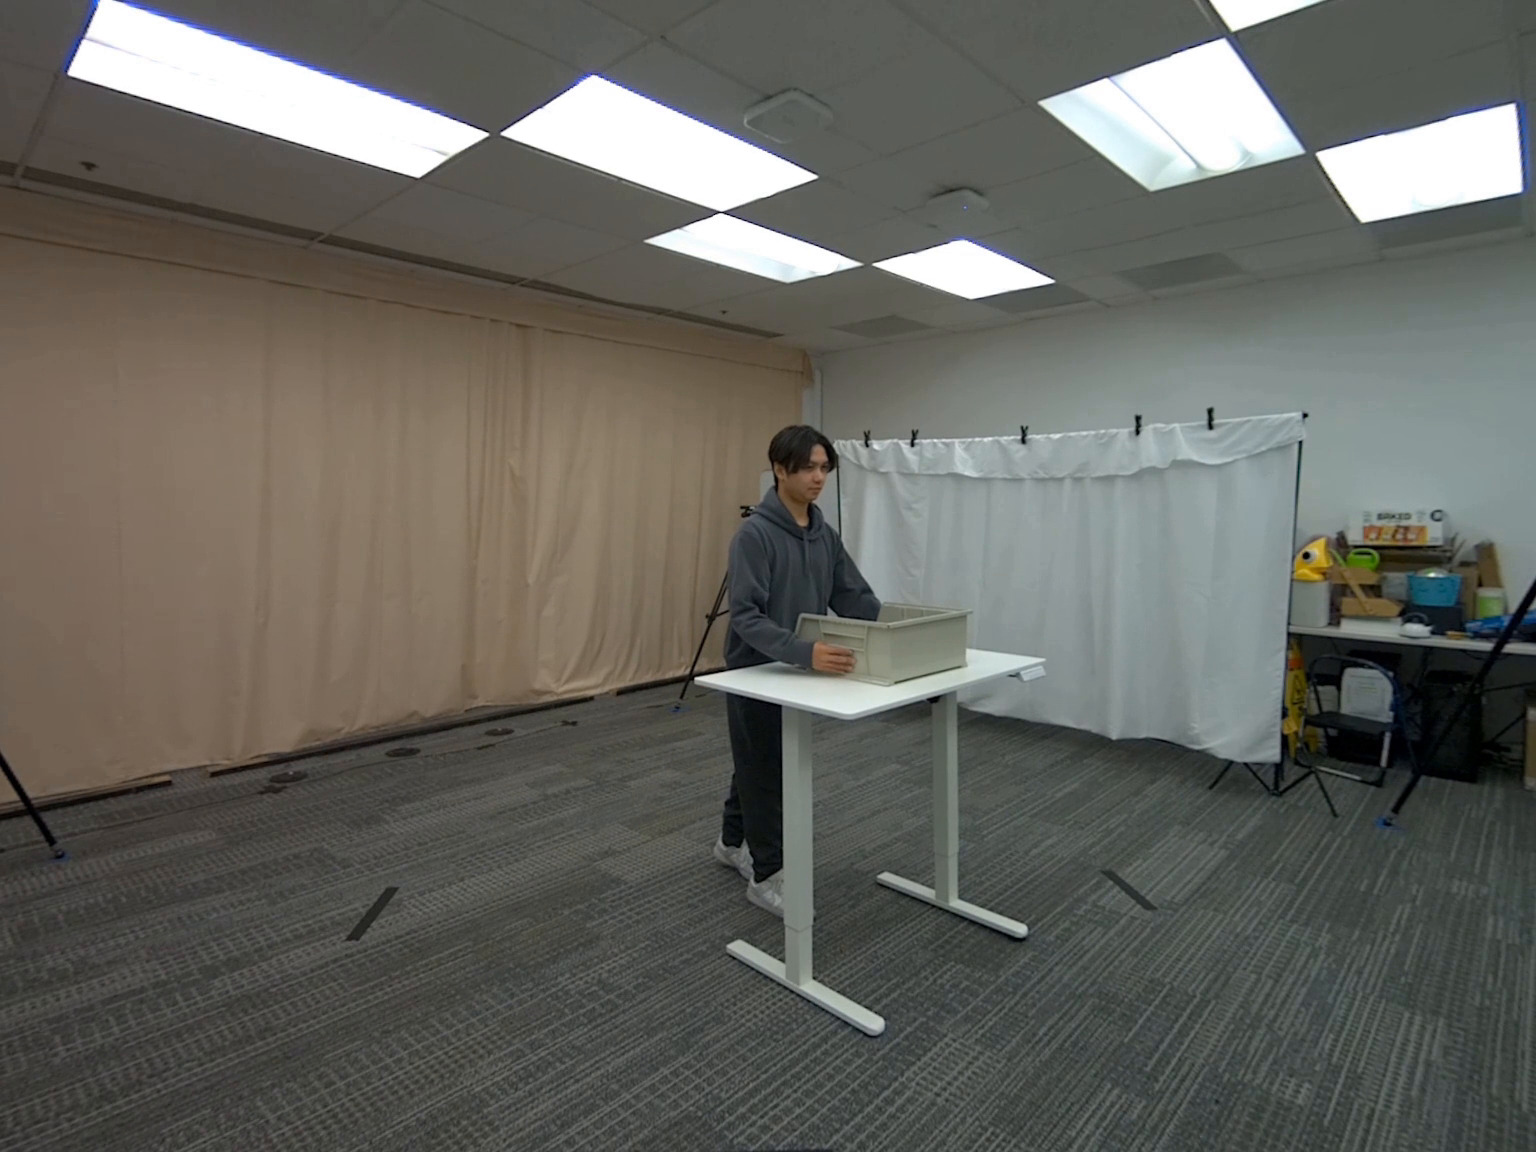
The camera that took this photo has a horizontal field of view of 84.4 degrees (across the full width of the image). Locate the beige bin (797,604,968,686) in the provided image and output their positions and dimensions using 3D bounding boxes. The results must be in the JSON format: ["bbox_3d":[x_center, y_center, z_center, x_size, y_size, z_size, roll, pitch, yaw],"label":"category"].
[{"bbox_3d":[0.365,0.204,2.617,0.409,0.188,0.390,-5,6,-43],"label":"beige bin"}]
